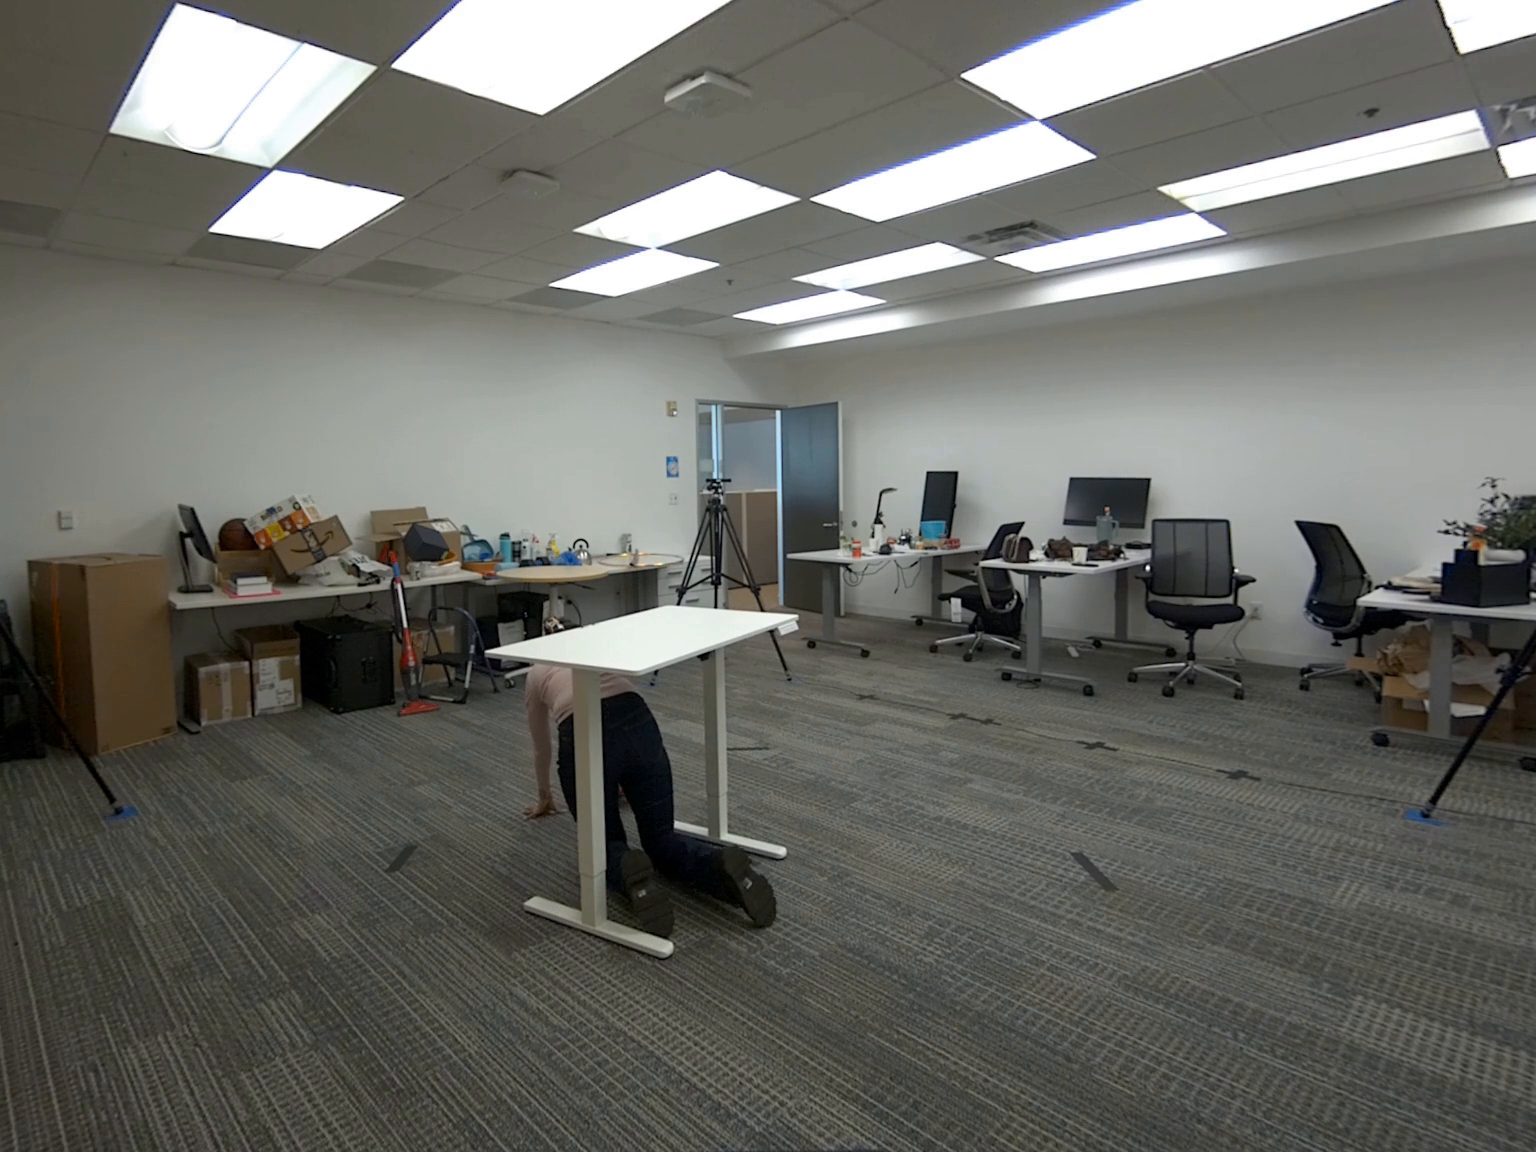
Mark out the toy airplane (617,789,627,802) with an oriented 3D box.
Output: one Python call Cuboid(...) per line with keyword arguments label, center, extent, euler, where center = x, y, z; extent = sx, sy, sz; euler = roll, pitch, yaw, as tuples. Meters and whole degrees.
Cuboid(label="toy airplane", center=(-0.645, 0.920, 3.683), extent=(0.252, 0.156, 0.259), euler=(0, 4, 4))
